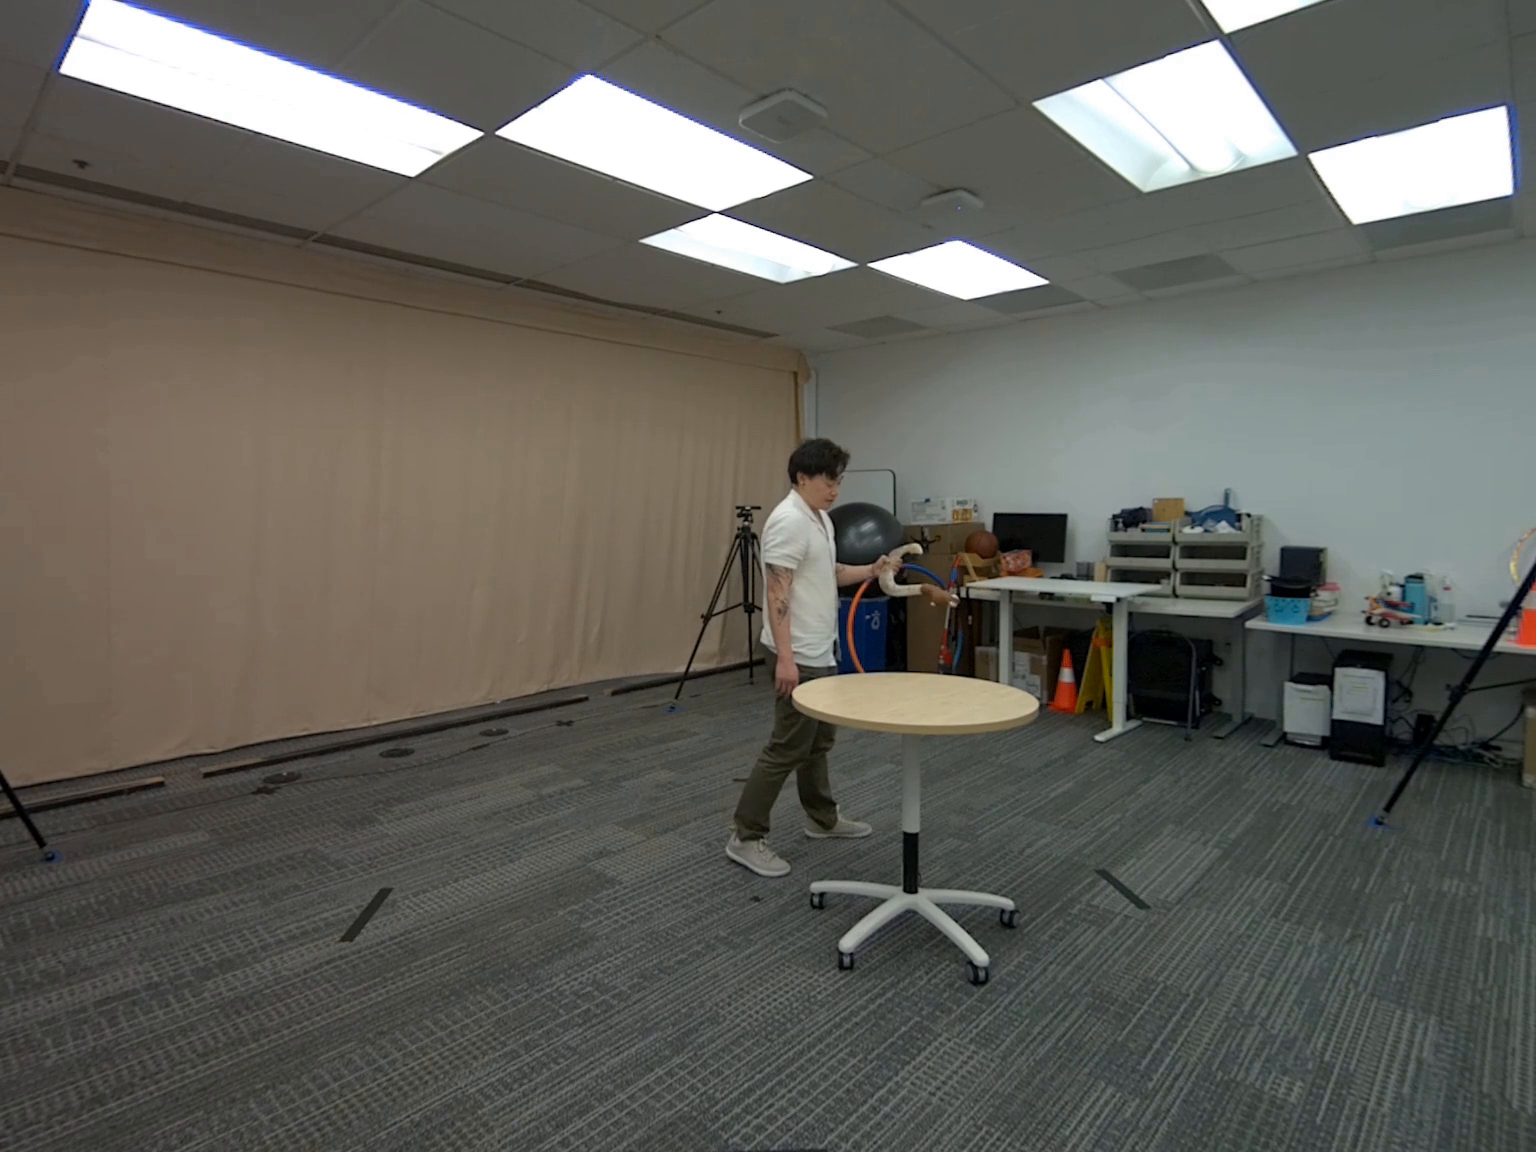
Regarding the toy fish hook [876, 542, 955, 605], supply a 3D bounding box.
[{"bbox_3d":[0.582,0.002,3.206,0.047,0.224,0.521,18,3,-27],"label":"toy fish hook"}]
